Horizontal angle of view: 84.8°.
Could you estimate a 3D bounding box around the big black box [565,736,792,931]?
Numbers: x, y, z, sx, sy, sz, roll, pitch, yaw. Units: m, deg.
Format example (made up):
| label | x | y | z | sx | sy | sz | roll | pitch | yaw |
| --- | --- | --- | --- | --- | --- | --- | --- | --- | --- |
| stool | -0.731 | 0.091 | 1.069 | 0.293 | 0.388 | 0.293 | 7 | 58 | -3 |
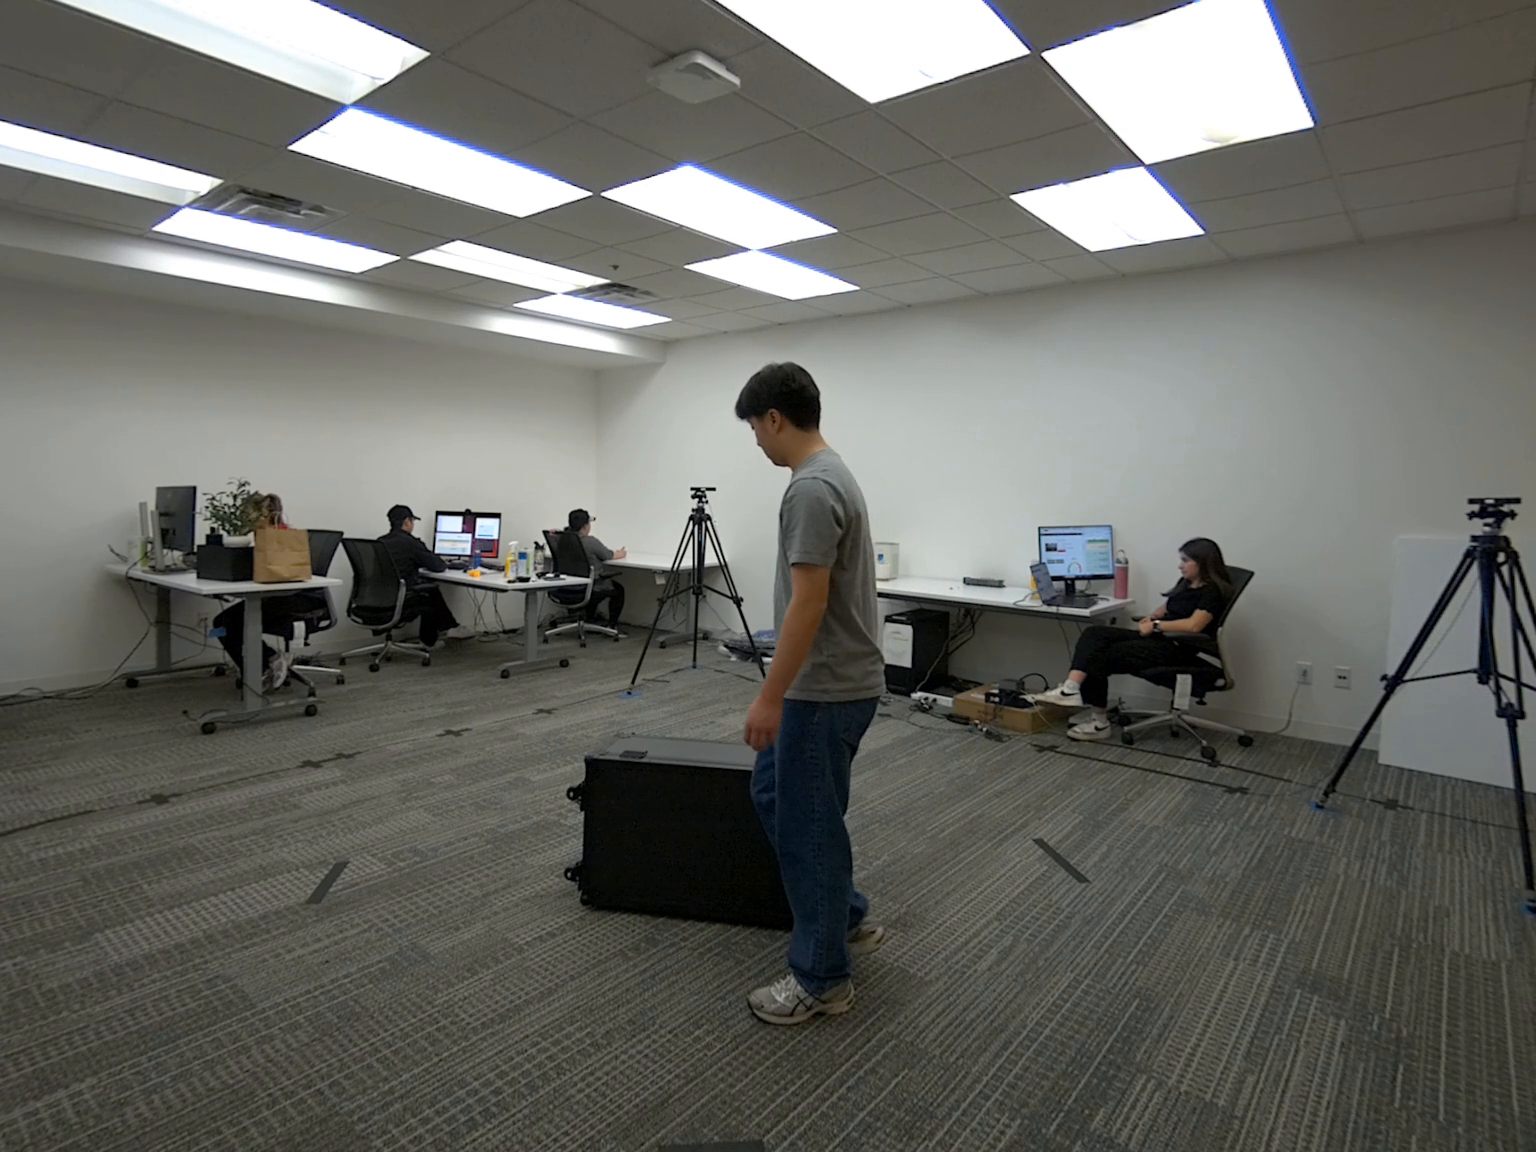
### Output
| label | x | y | z | sx | sy | sz | roll | pitch | yaw |
| --- | --- | --- | --- | --- | --- | --- | --- | --- | --- |
| big black box | -0.241 | 0.827 | 2.902 | 0.871 | 0.521 | 0.392 | 2 | 1 | 10 |
